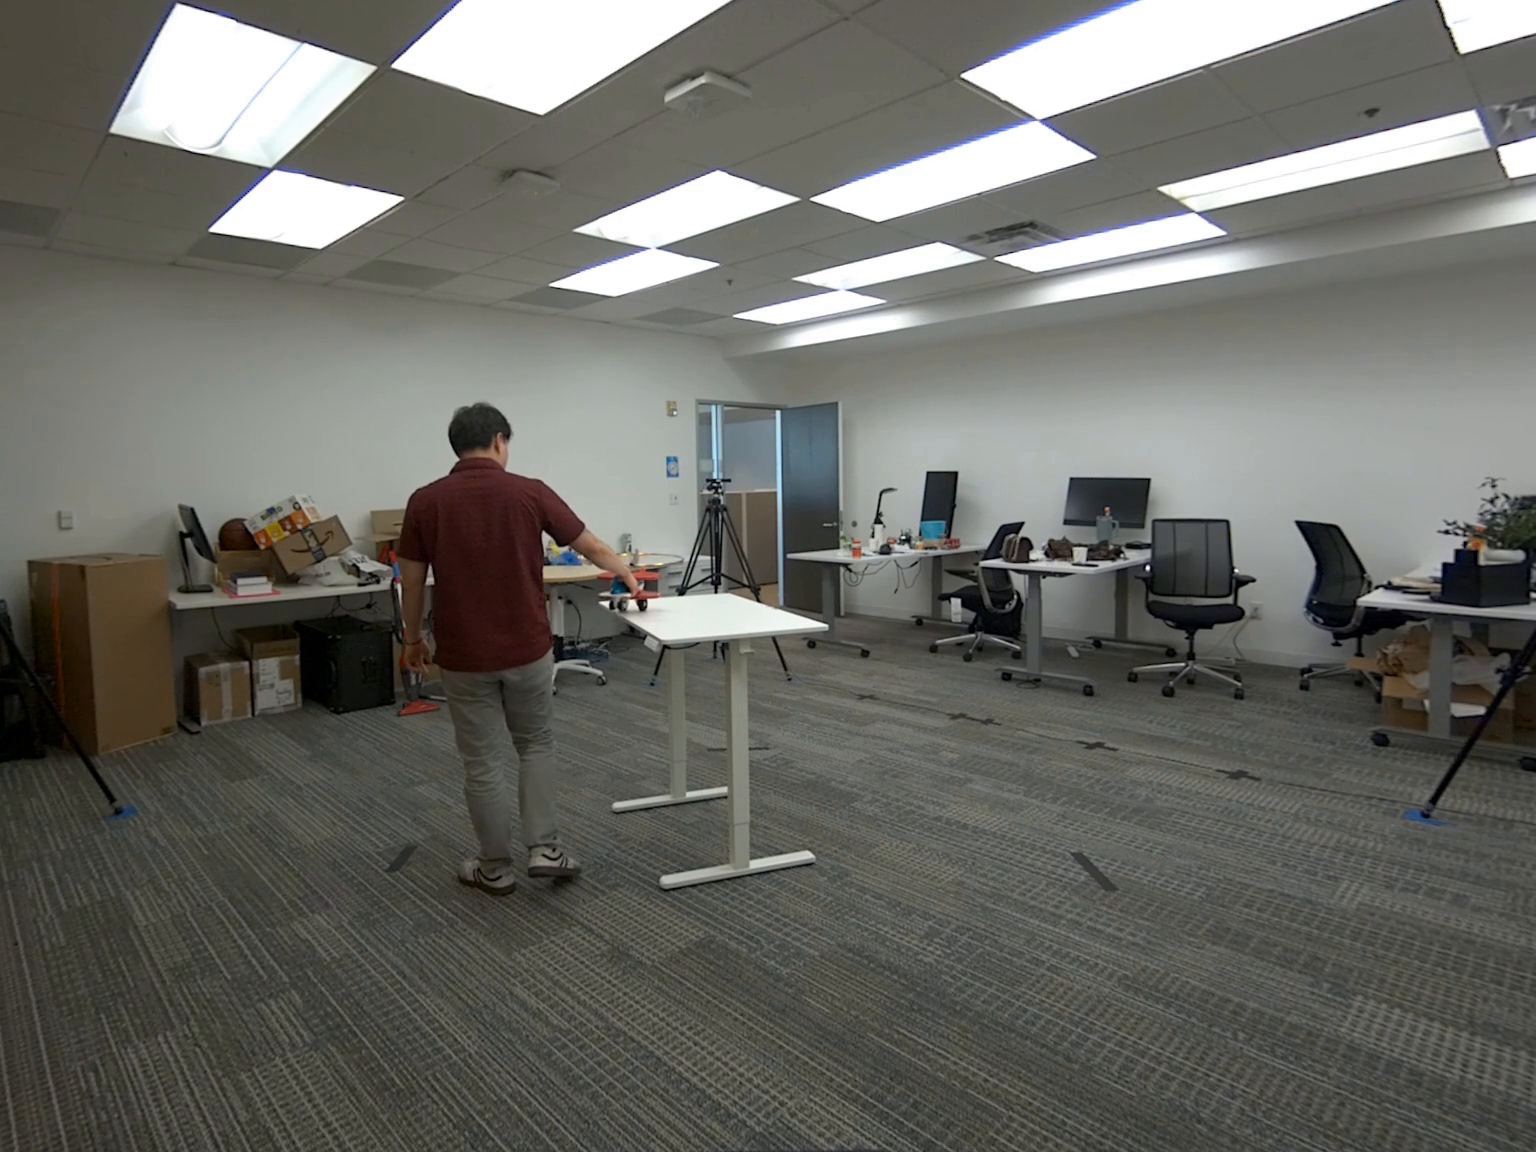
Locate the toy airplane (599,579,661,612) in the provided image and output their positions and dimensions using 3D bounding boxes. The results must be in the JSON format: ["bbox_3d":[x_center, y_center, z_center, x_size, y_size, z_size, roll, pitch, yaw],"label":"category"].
[{"bbox_3d":[-0.532,0.058,3.334,0.246,0.157,0.263,2,-5,-19],"label":"toy airplane"}]
